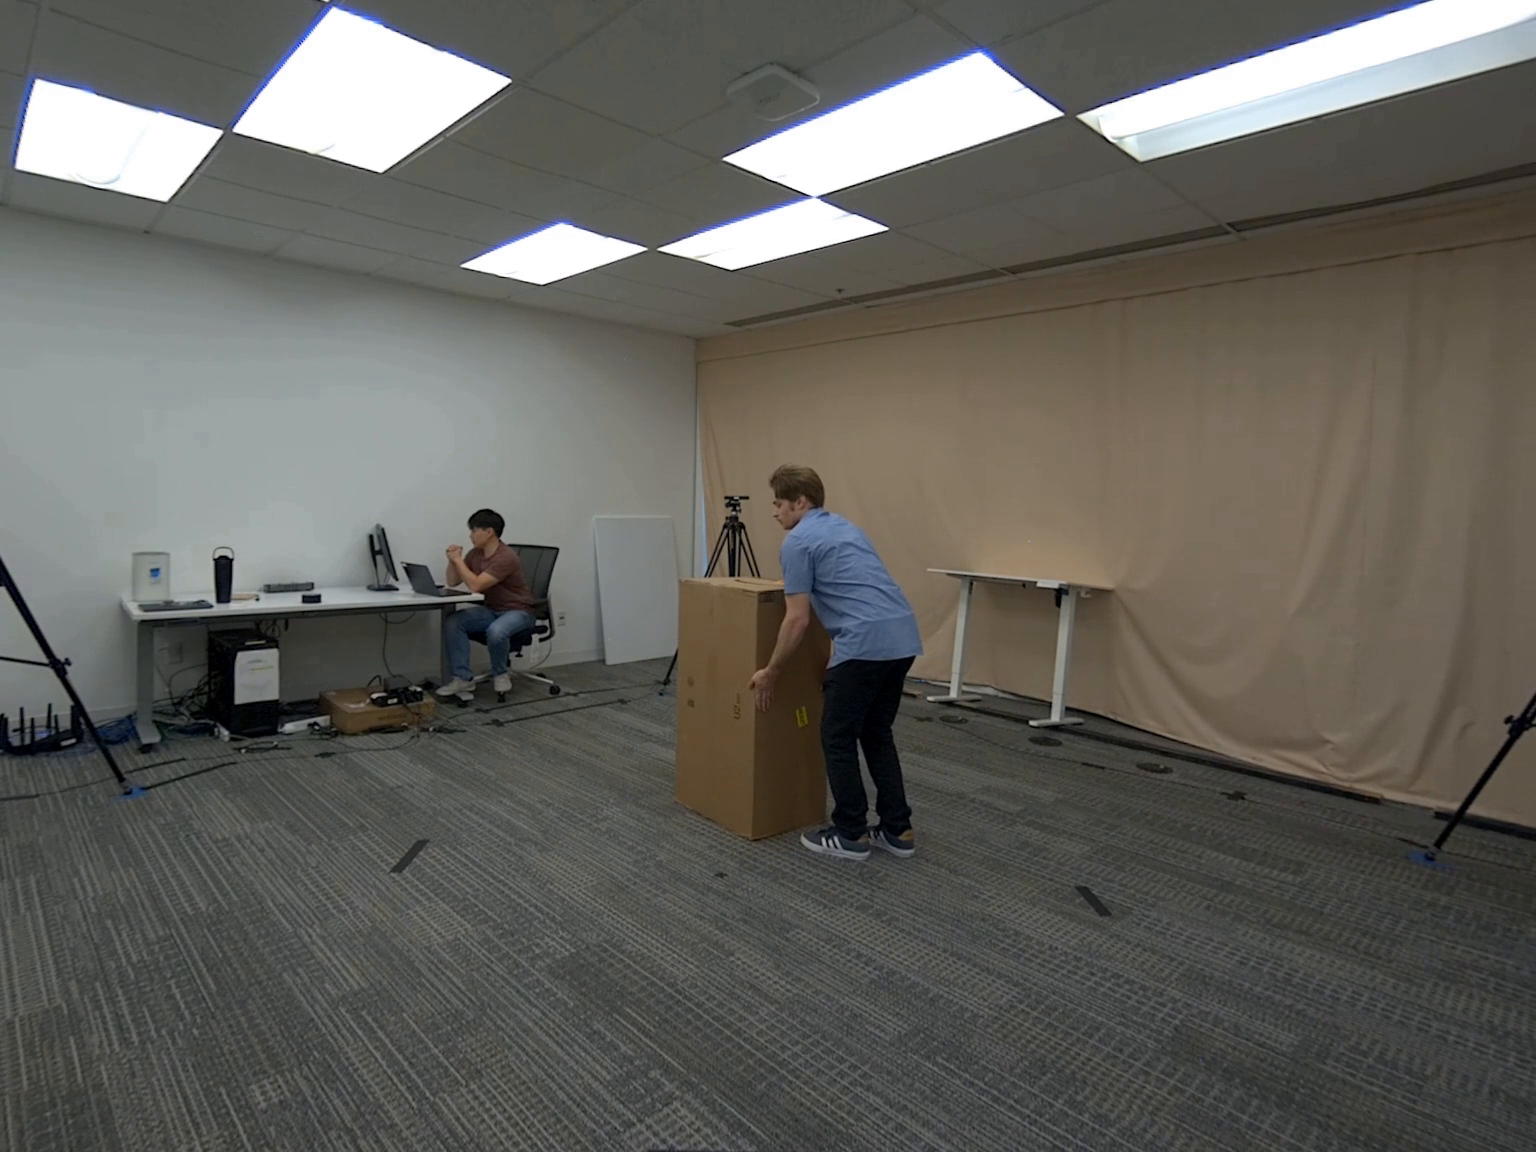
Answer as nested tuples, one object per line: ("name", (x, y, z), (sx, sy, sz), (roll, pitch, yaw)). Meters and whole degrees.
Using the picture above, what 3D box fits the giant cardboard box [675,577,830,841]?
("giant cardboard box", (-0.088, 0.542, 3.752), (0.416, 1.024, 0.592), (0, 3, -39))
